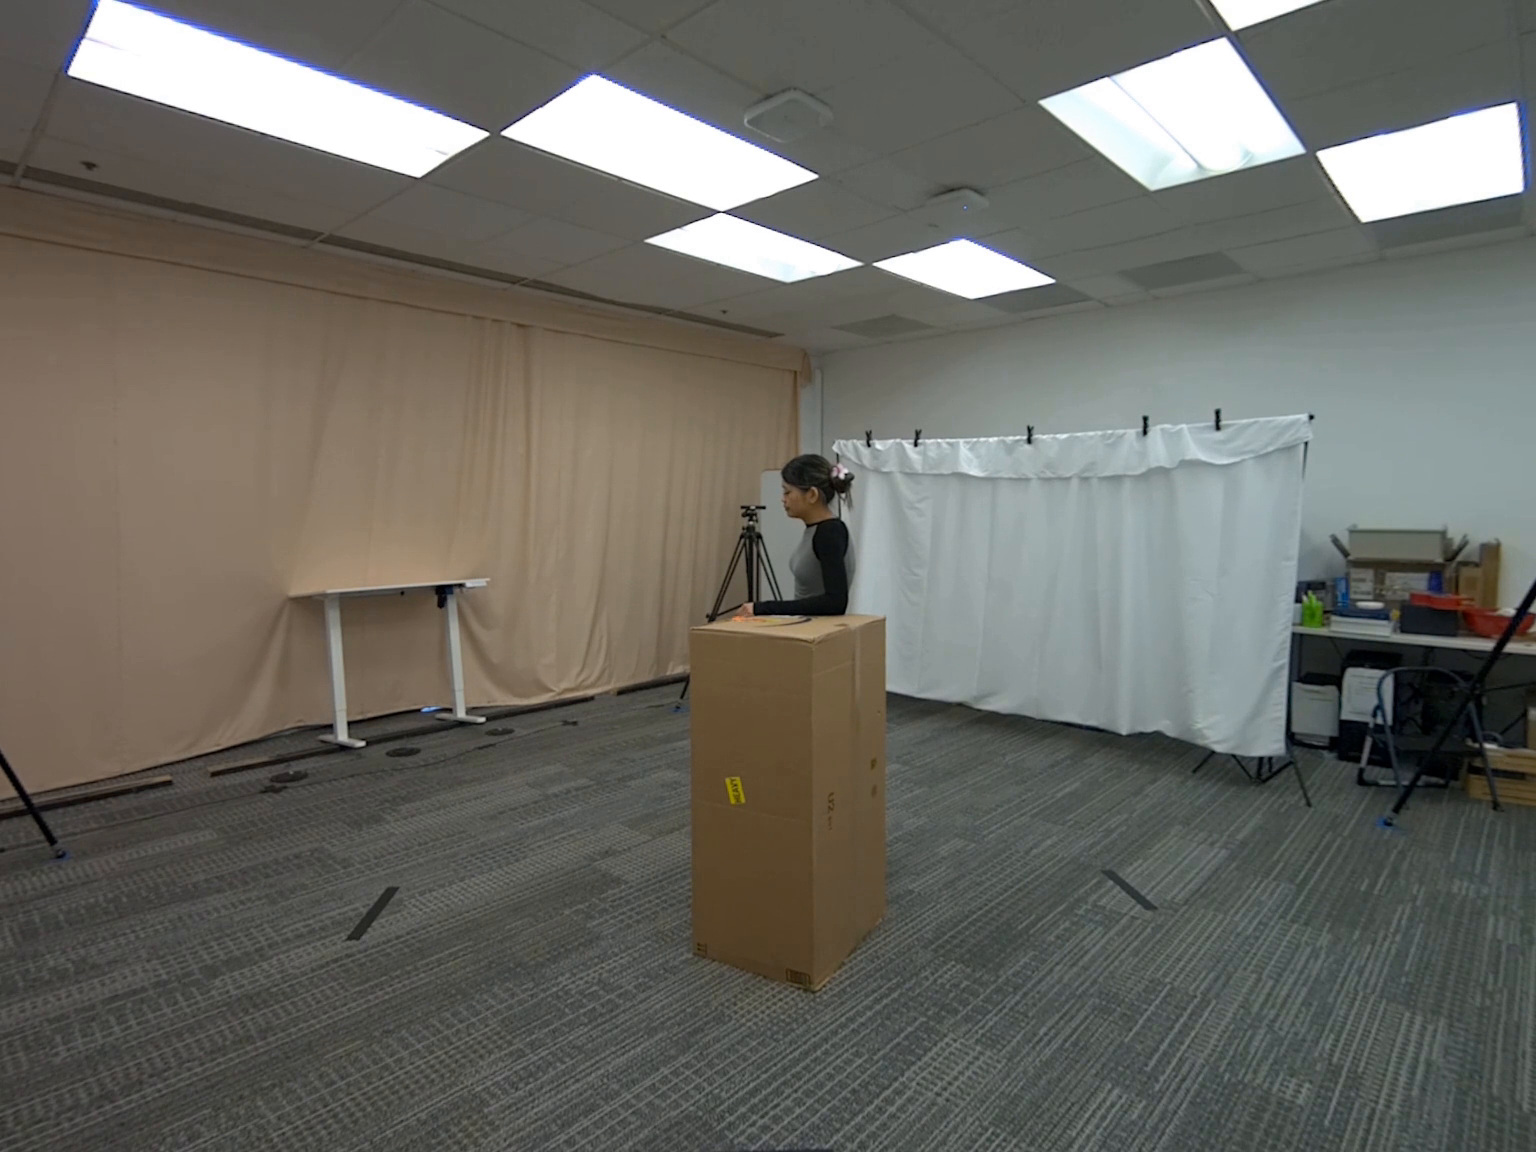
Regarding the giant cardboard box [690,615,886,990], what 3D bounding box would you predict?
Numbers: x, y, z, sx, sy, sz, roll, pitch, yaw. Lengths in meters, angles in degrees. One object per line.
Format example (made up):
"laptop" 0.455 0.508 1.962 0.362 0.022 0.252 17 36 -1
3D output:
"giant cardboard box" 0.083 0.657 2.726 0.439 1.024 0.562 2 3 31
